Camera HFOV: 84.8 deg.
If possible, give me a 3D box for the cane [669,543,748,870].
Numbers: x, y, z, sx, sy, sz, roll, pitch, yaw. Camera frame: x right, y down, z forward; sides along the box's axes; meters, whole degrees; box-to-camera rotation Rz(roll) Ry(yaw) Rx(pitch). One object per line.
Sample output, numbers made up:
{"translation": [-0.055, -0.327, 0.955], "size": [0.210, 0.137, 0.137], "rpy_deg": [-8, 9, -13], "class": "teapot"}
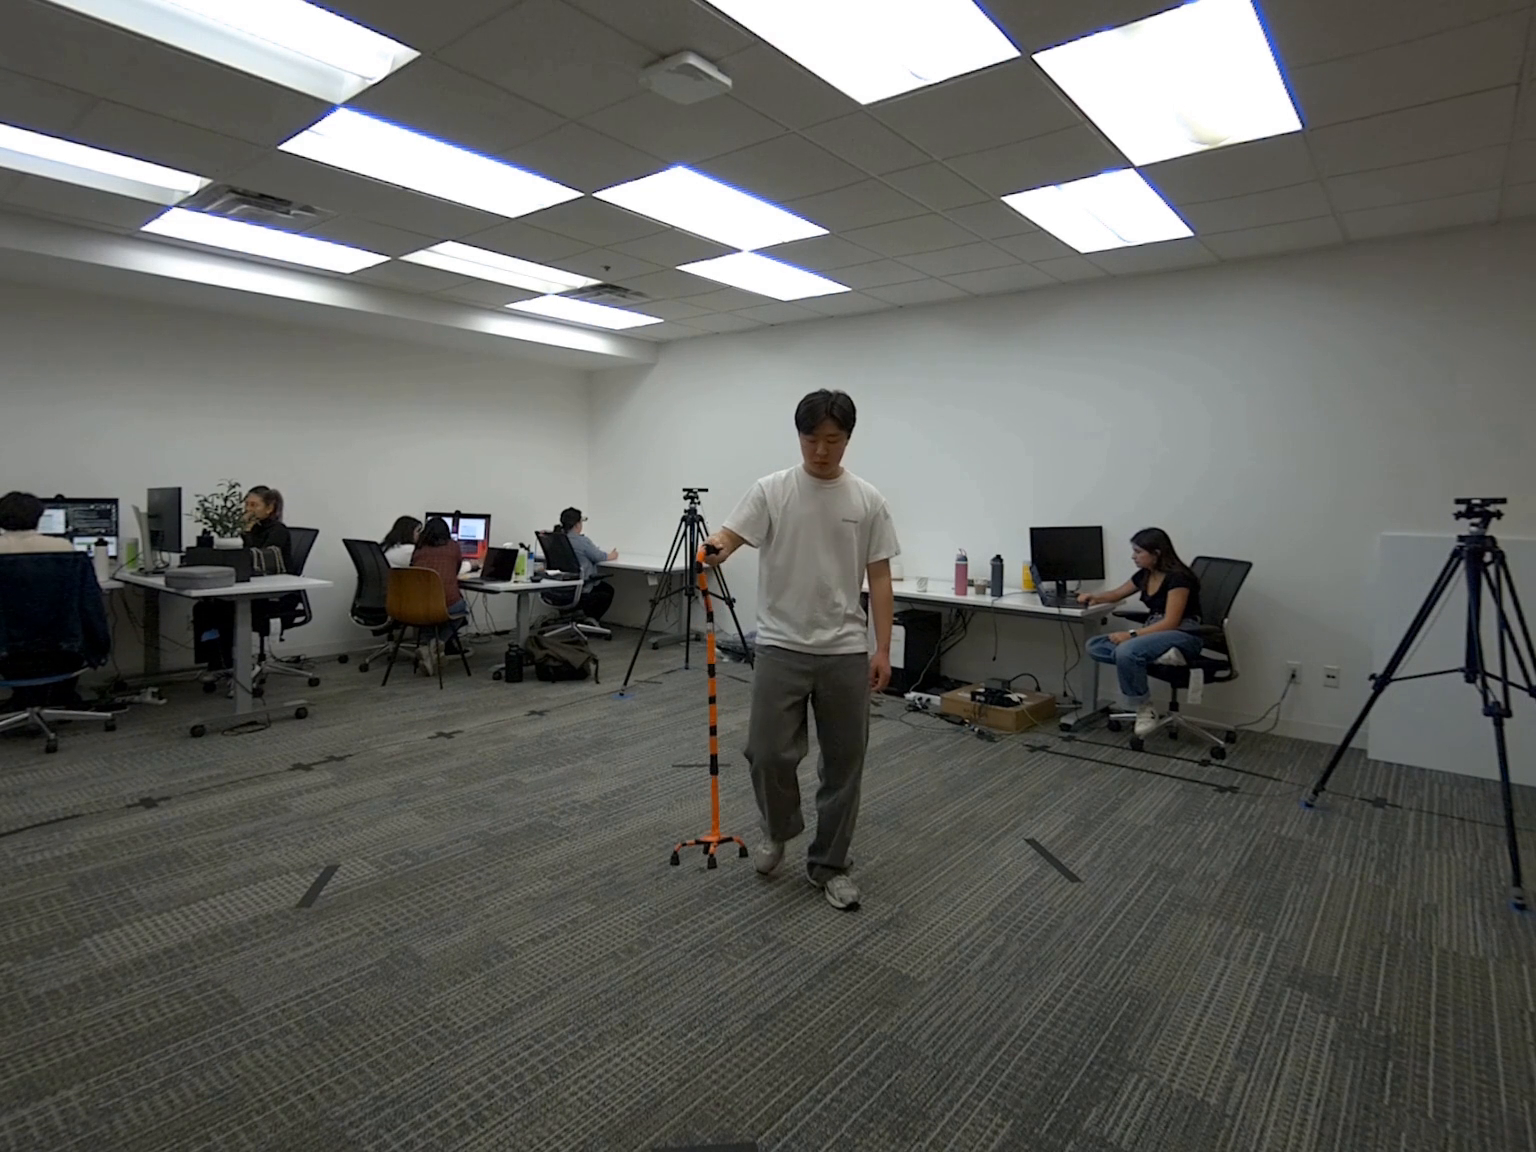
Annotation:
{"translation": [-0.184, 0.364, 2.507], "size": [0.155, 0.915, 0.199], "rpy_deg": [-7, -9, 31], "class": "cane"}
